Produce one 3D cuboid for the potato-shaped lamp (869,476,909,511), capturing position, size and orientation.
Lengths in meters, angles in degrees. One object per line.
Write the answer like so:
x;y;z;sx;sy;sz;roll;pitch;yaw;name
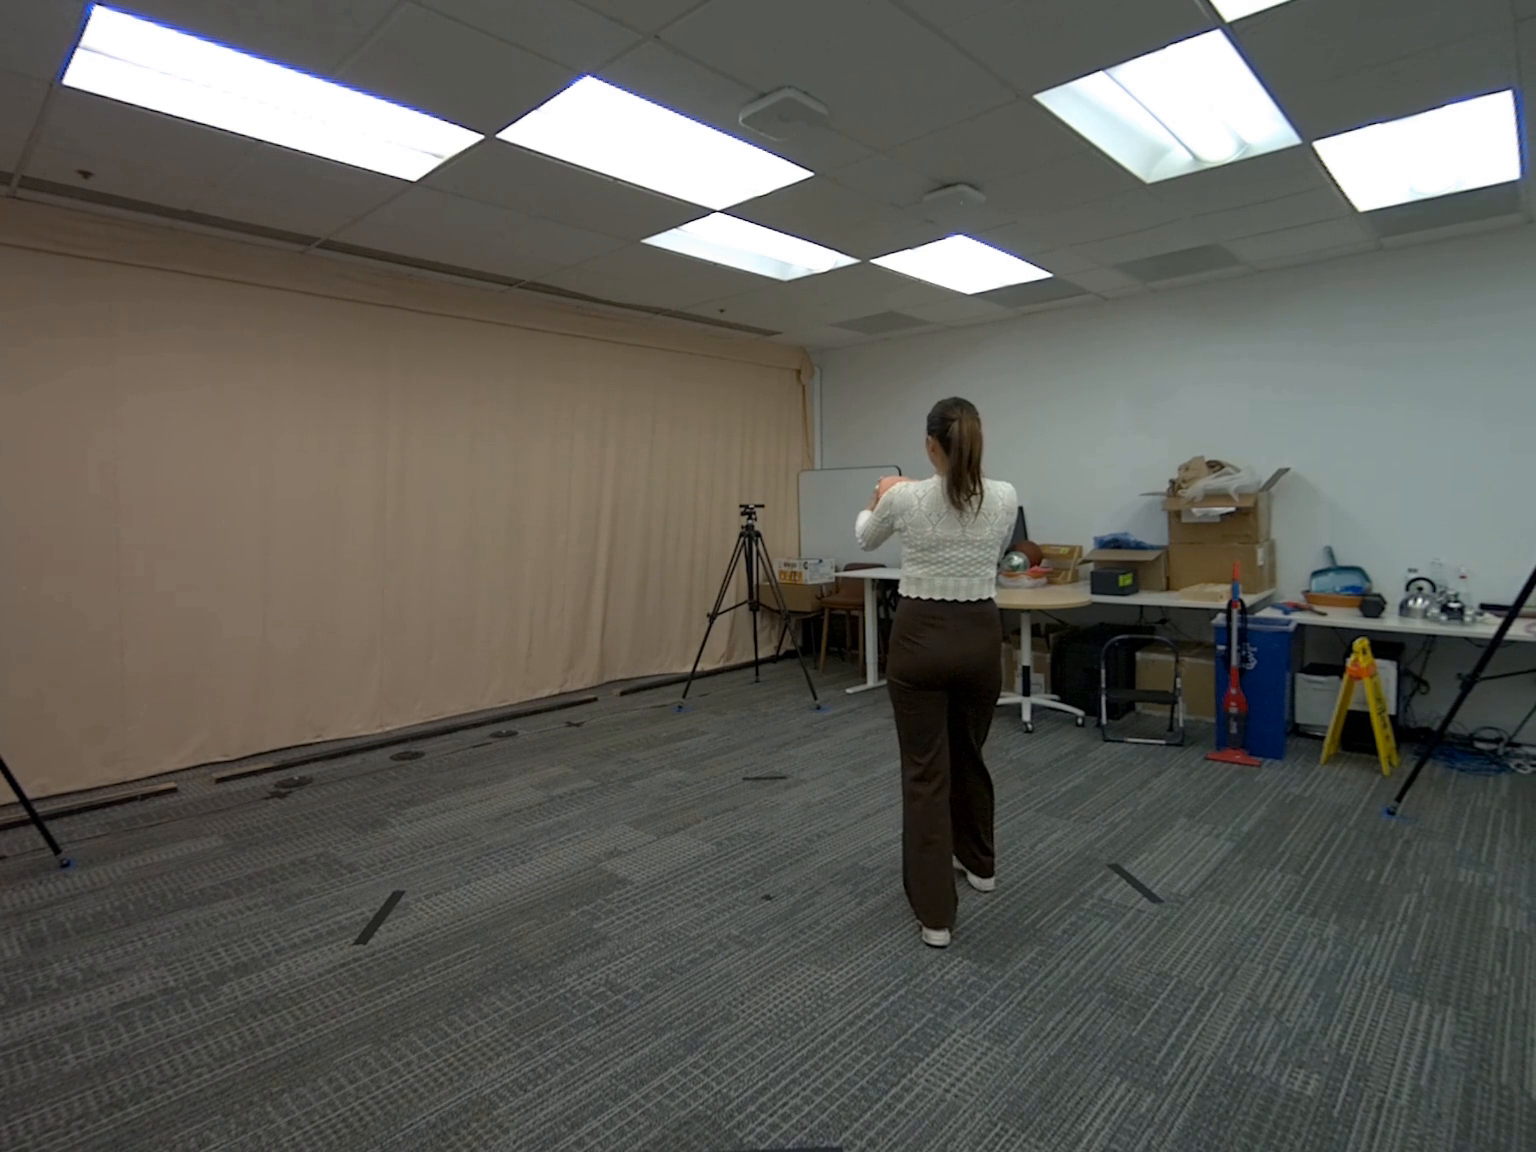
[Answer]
0.526;-0.301;3.230;0.199;0.174;0.161;-4;-28;4;potato-shaped lamp
